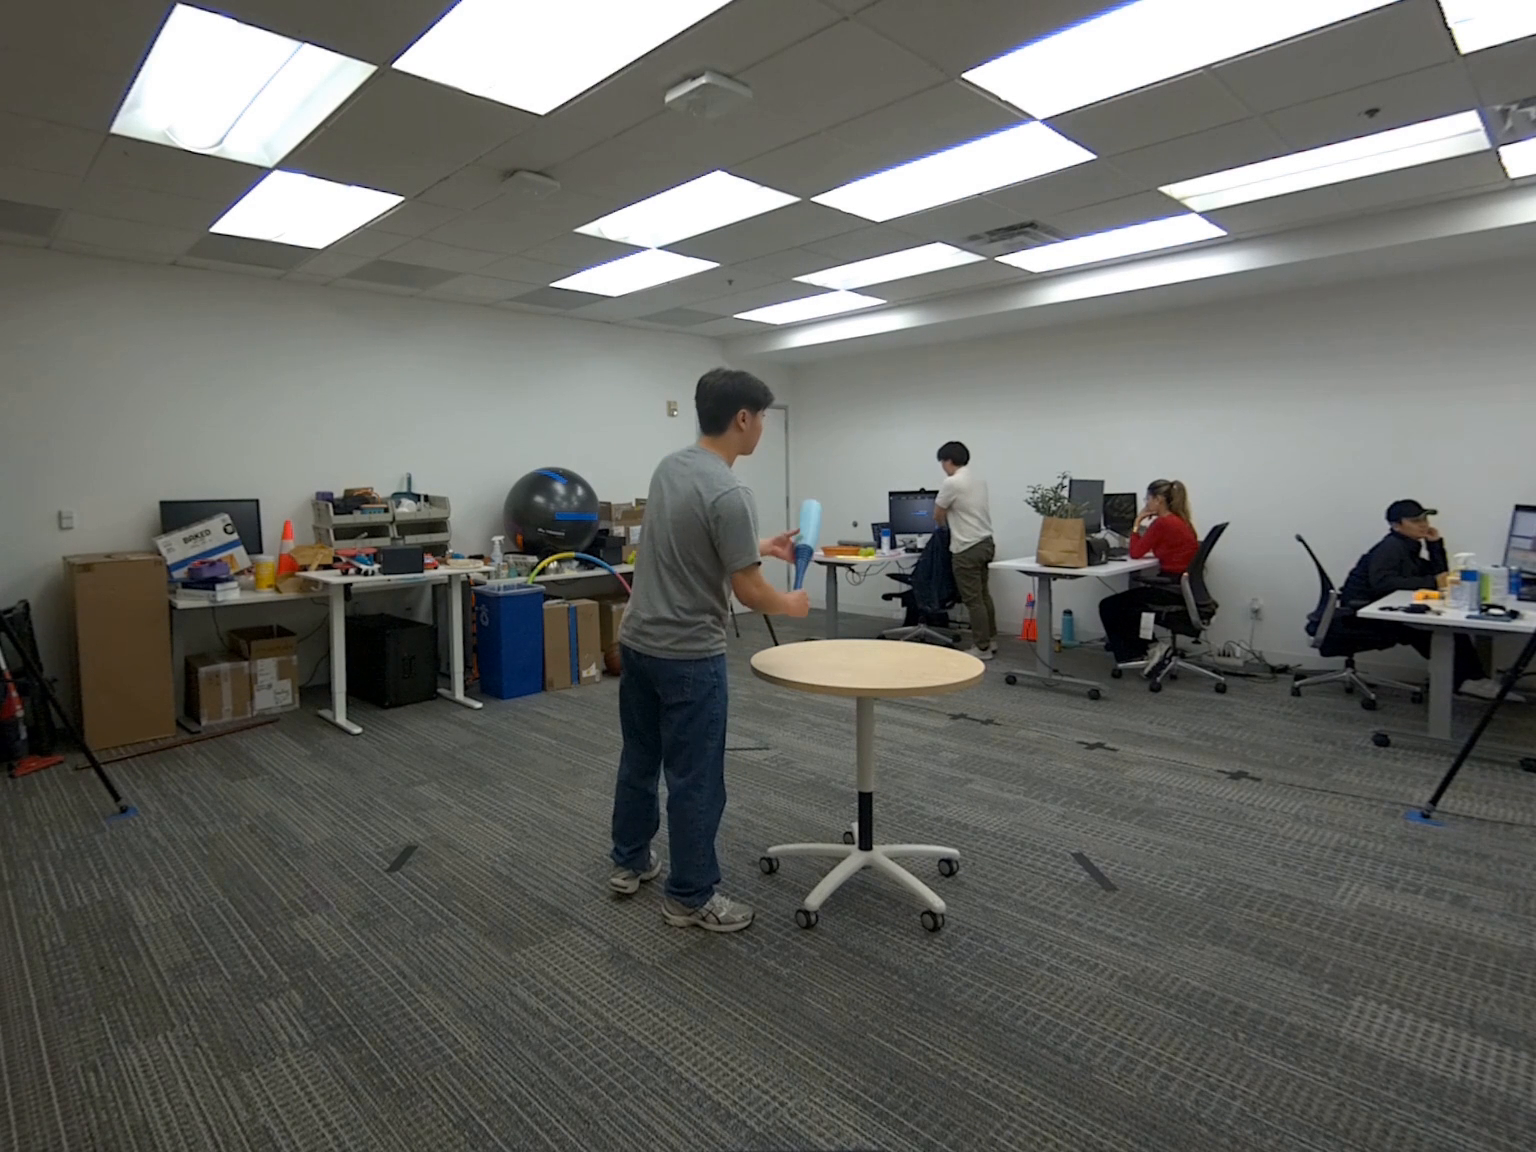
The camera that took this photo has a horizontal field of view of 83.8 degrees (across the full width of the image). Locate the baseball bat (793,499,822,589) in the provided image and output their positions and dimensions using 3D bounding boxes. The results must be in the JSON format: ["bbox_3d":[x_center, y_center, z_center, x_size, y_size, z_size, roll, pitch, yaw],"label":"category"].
[{"bbox_3d":[0.134,-0.065,2.956,0.090,0.086,0.552,0,42,16],"label":"baseball bat"}]
